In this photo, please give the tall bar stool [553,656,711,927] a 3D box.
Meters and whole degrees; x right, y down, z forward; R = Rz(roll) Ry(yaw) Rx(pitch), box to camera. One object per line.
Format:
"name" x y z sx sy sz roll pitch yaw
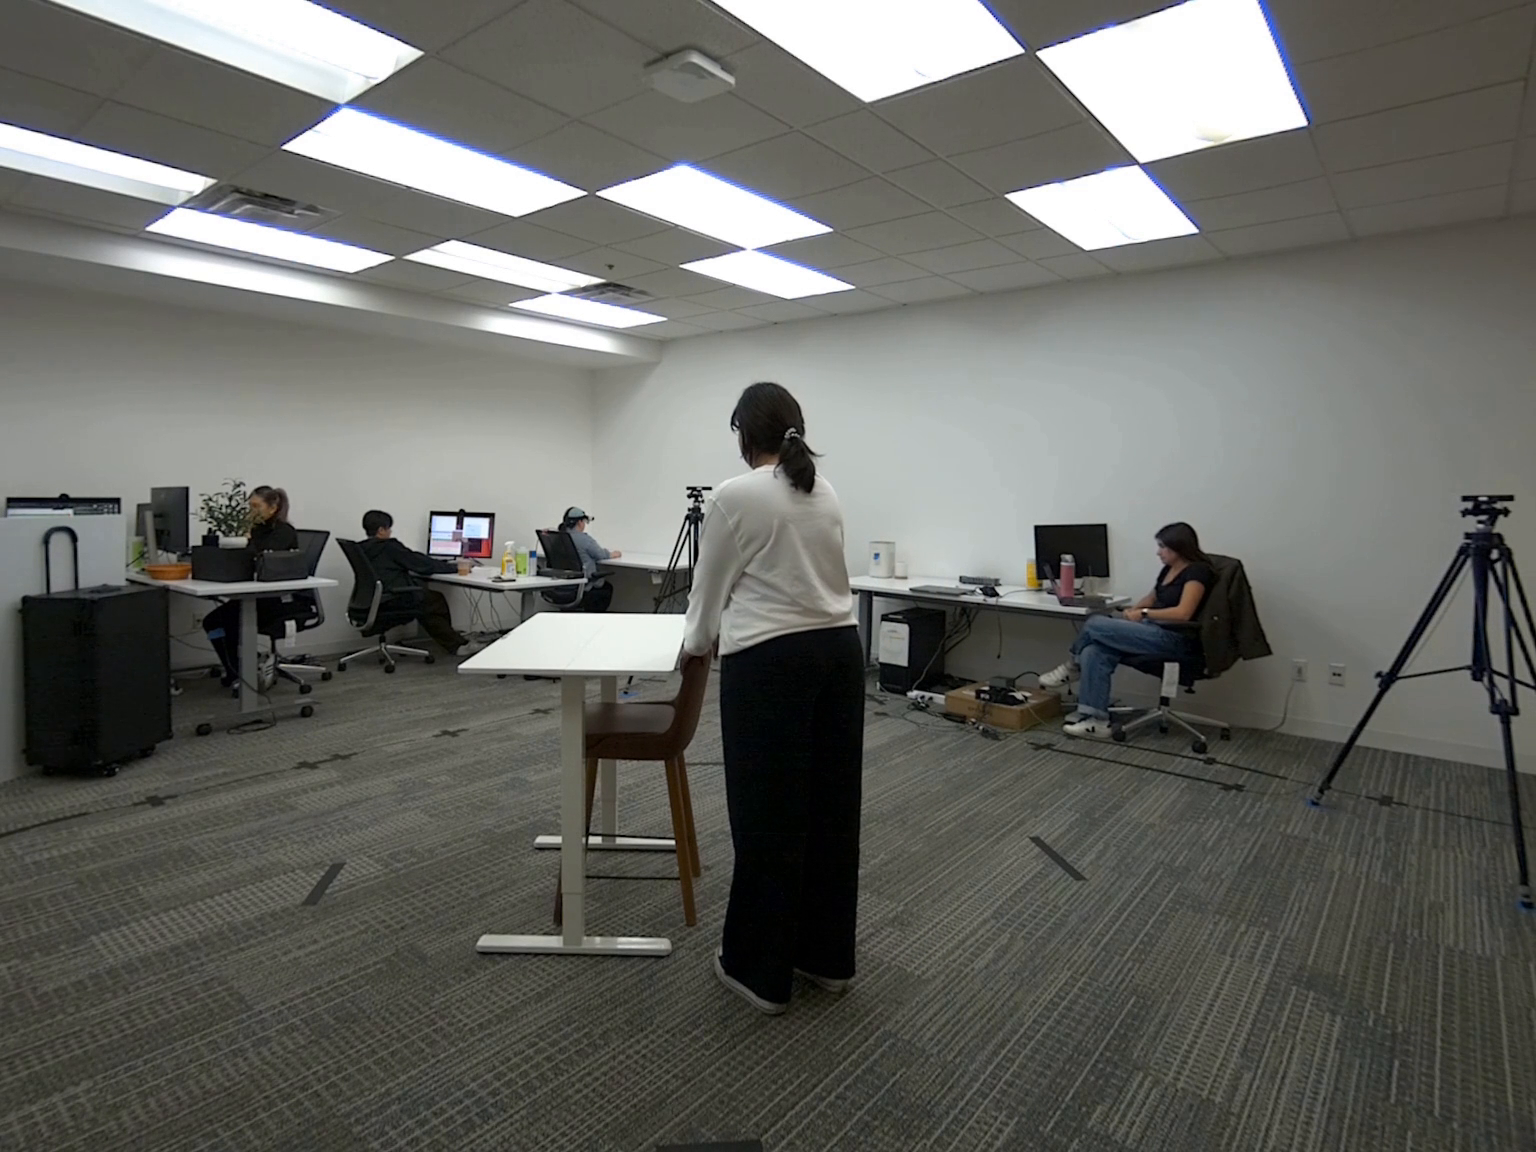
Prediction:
"tall bar stool" -0.445 0.656 2.849 0.468 0.887 0.457 2 3 0
